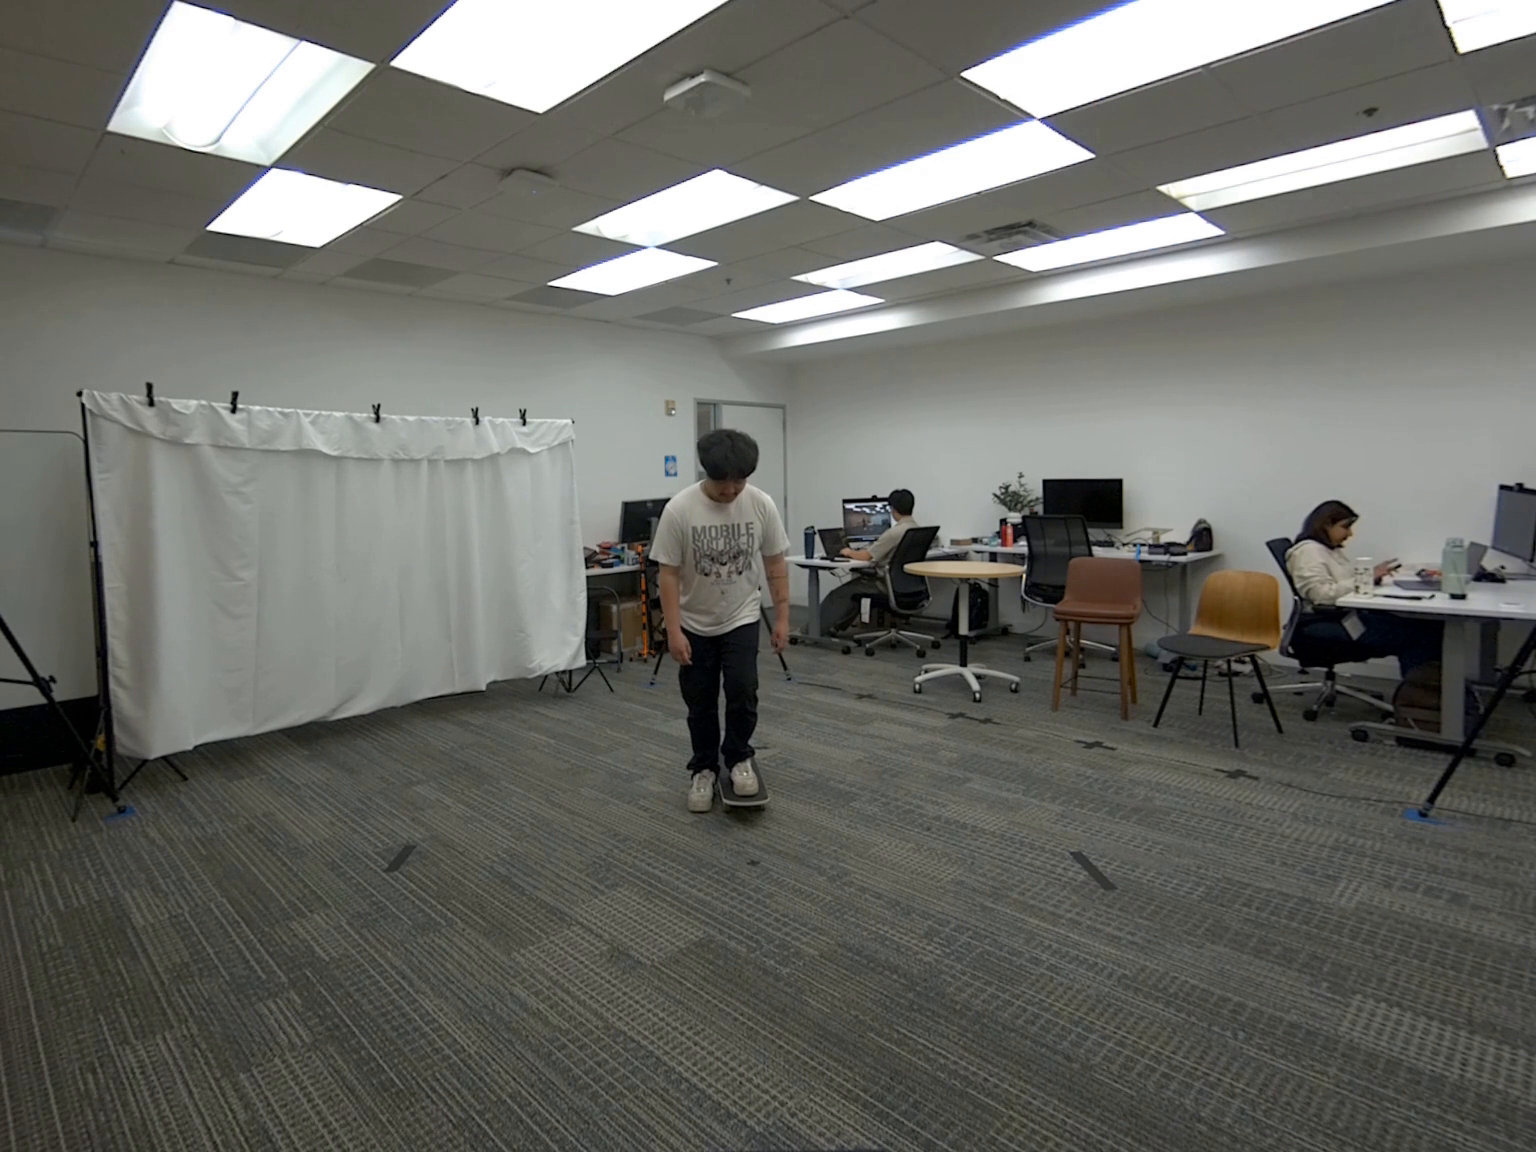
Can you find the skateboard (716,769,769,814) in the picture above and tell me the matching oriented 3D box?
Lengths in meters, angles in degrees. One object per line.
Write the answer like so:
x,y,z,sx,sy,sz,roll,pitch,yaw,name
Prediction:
-0.126,0.911,3.799,0.192,0.110,0.794,-3,7,-8,skateboard
